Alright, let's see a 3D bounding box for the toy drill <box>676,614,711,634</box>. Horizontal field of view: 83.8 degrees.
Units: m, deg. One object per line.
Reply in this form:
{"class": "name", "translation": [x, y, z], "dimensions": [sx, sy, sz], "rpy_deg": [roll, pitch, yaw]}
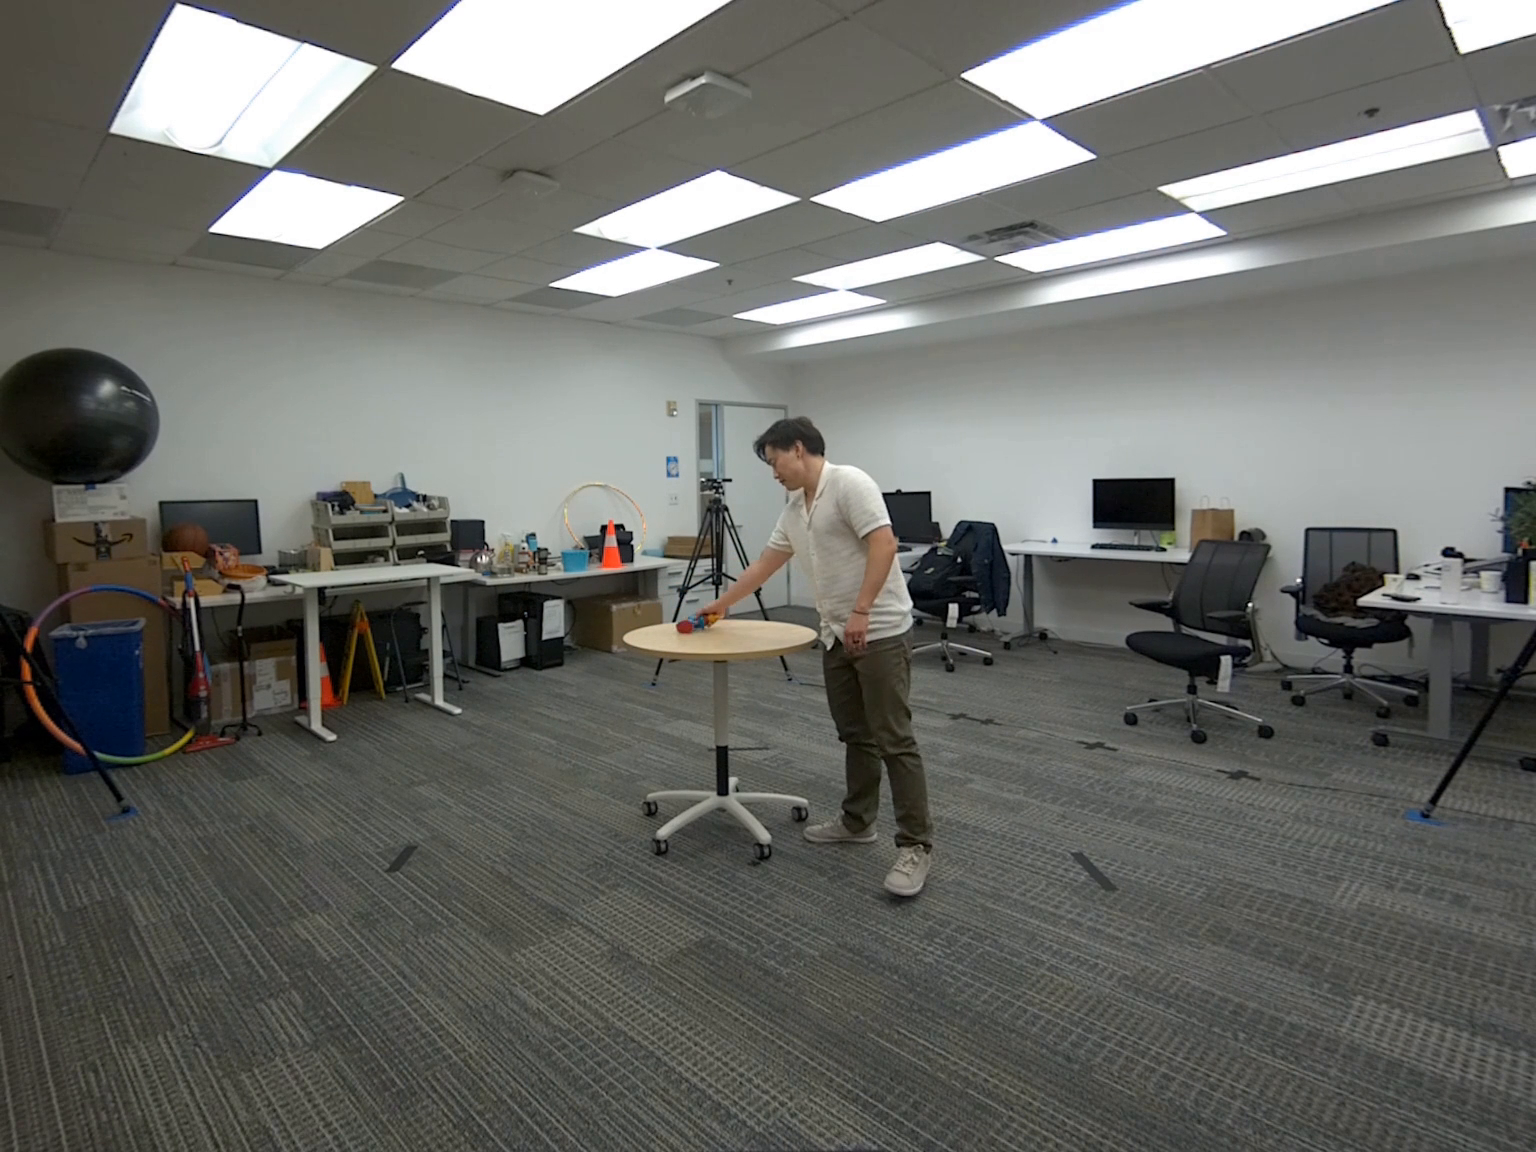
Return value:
{"class": "toy drill", "translation": [-0.270, 0.184, 3.465], "dimensions": [0.173, 0.061, 0.144], "rpy_deg": [-9, 6, 25]}
